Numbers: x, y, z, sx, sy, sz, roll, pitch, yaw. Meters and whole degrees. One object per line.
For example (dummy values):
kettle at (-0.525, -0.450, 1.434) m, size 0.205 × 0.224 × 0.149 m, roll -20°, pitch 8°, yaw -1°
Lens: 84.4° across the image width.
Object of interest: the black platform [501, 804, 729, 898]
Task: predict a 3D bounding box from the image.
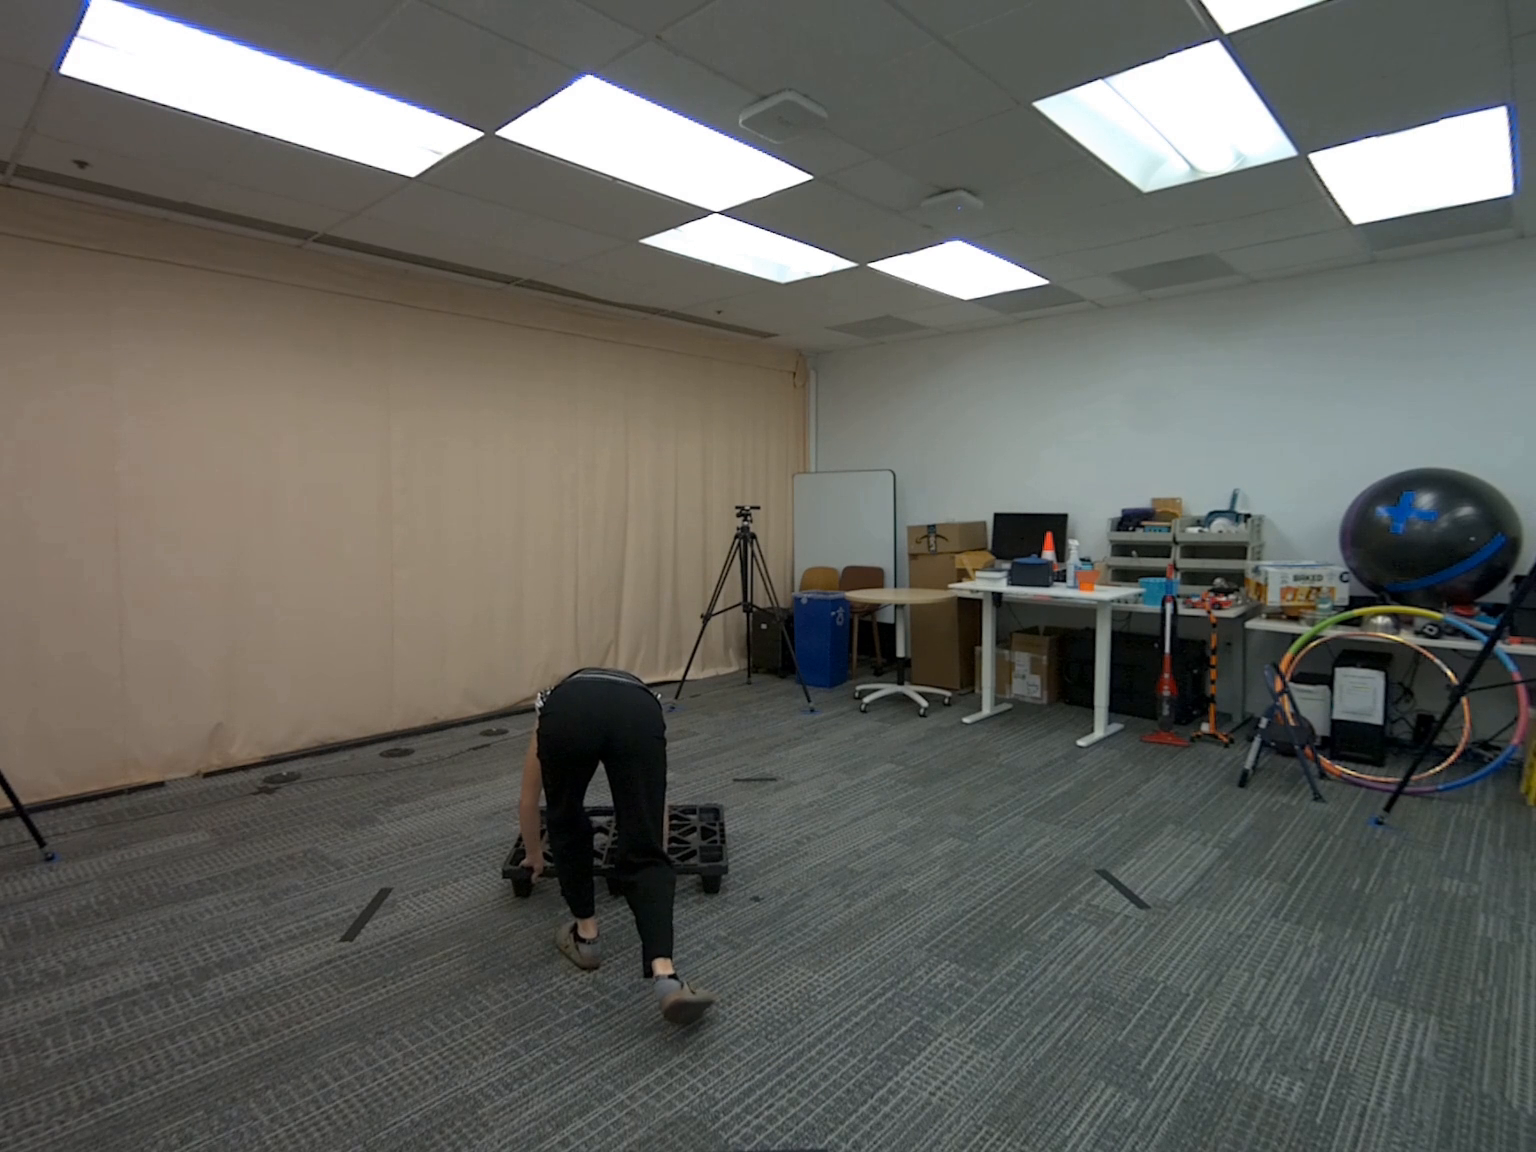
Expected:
black platform at (-0.561, 1.058, 3.245) m, size 0.804 × 0.143 × 0.608 m, roll 0°, pitch 4°, yaw -3°
